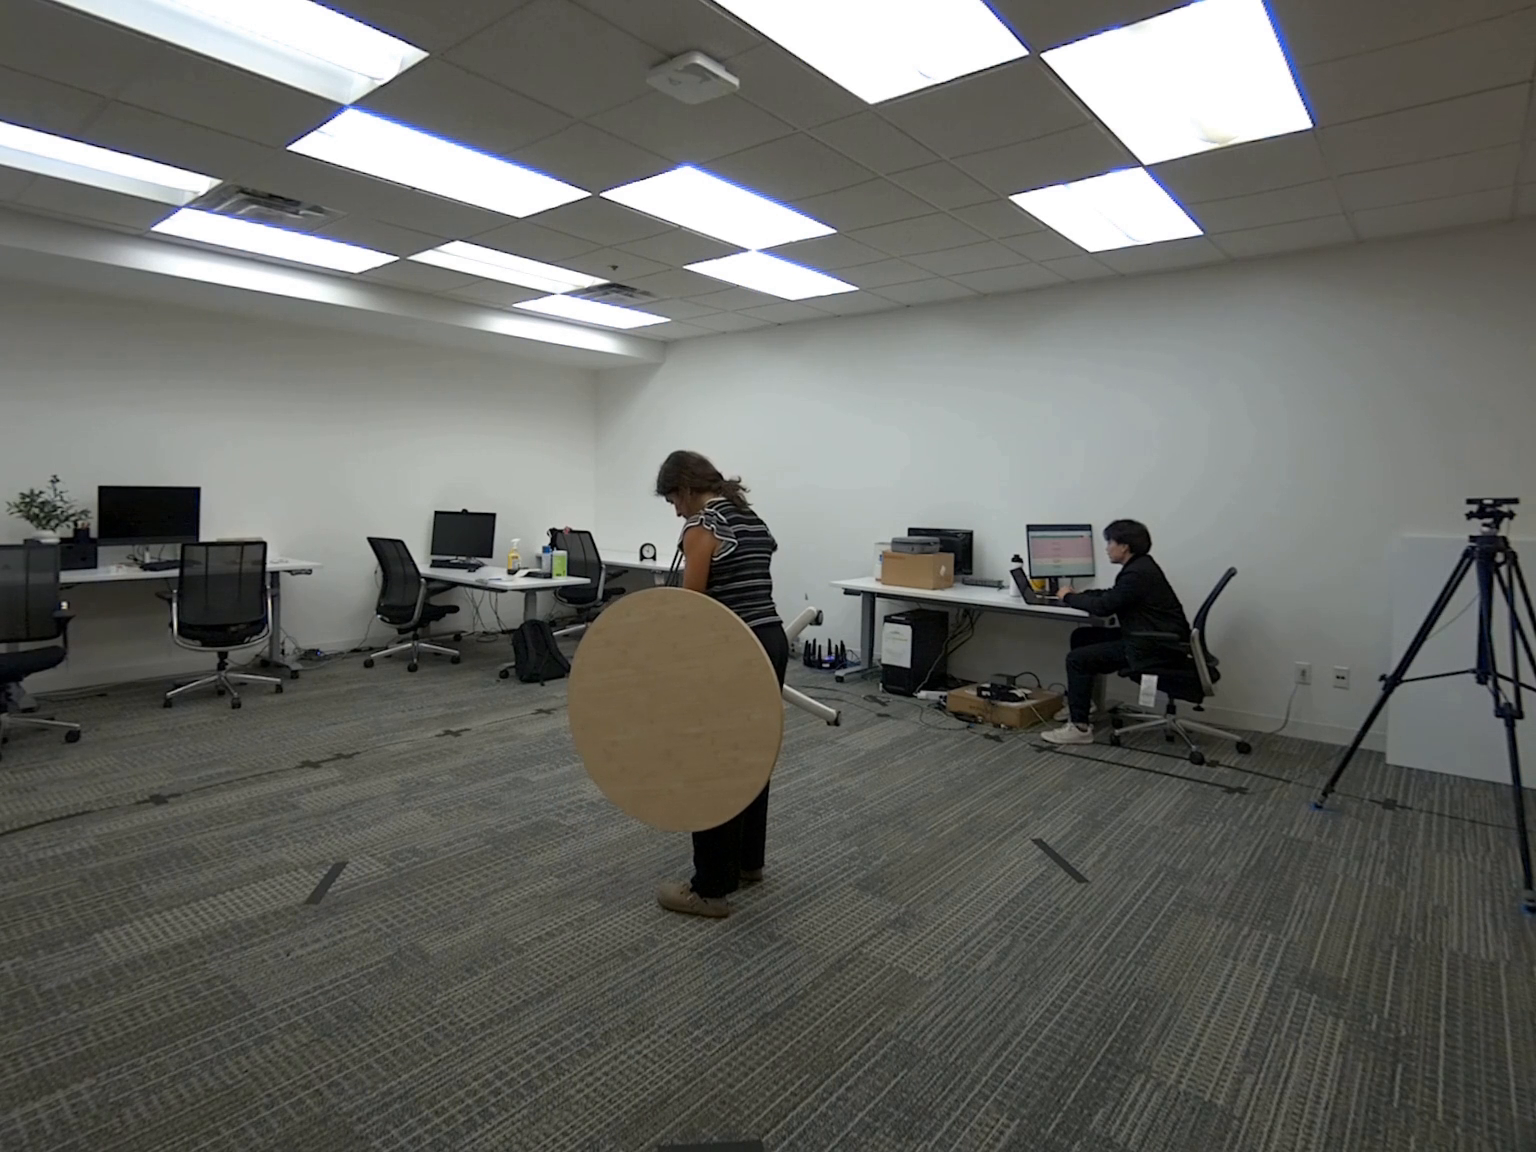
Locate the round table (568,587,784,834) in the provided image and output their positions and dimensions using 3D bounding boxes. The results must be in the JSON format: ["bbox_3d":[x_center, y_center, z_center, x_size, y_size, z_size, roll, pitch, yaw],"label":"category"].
[{"bbox_3d":[-0.179,0.405,3.040,0.784,0.762,0.775,3,3,25],"label":"round table"}]
